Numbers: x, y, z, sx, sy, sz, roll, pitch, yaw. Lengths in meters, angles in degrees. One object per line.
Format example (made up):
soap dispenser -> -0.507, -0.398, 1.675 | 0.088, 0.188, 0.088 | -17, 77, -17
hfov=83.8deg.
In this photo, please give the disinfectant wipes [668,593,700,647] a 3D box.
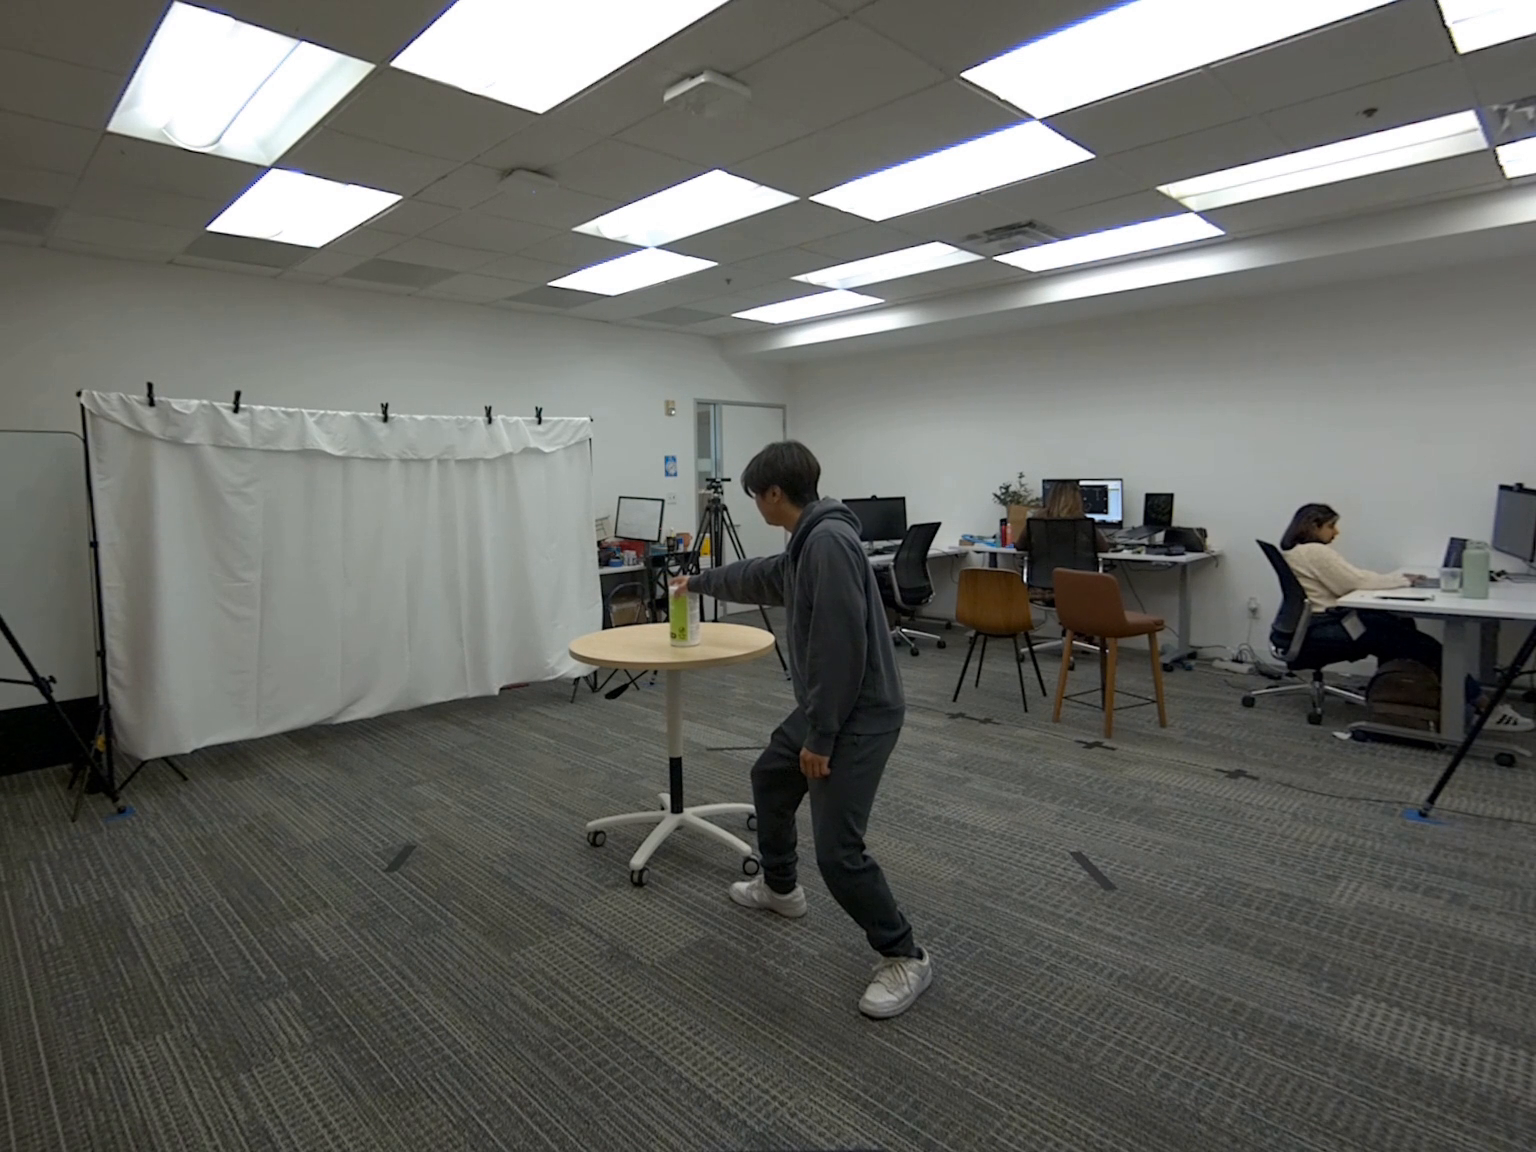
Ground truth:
disinfectant wipes -> -0.299, 0.143, 3.106 | 0.118, 0.216, 0.118 | 1, 6, -2
